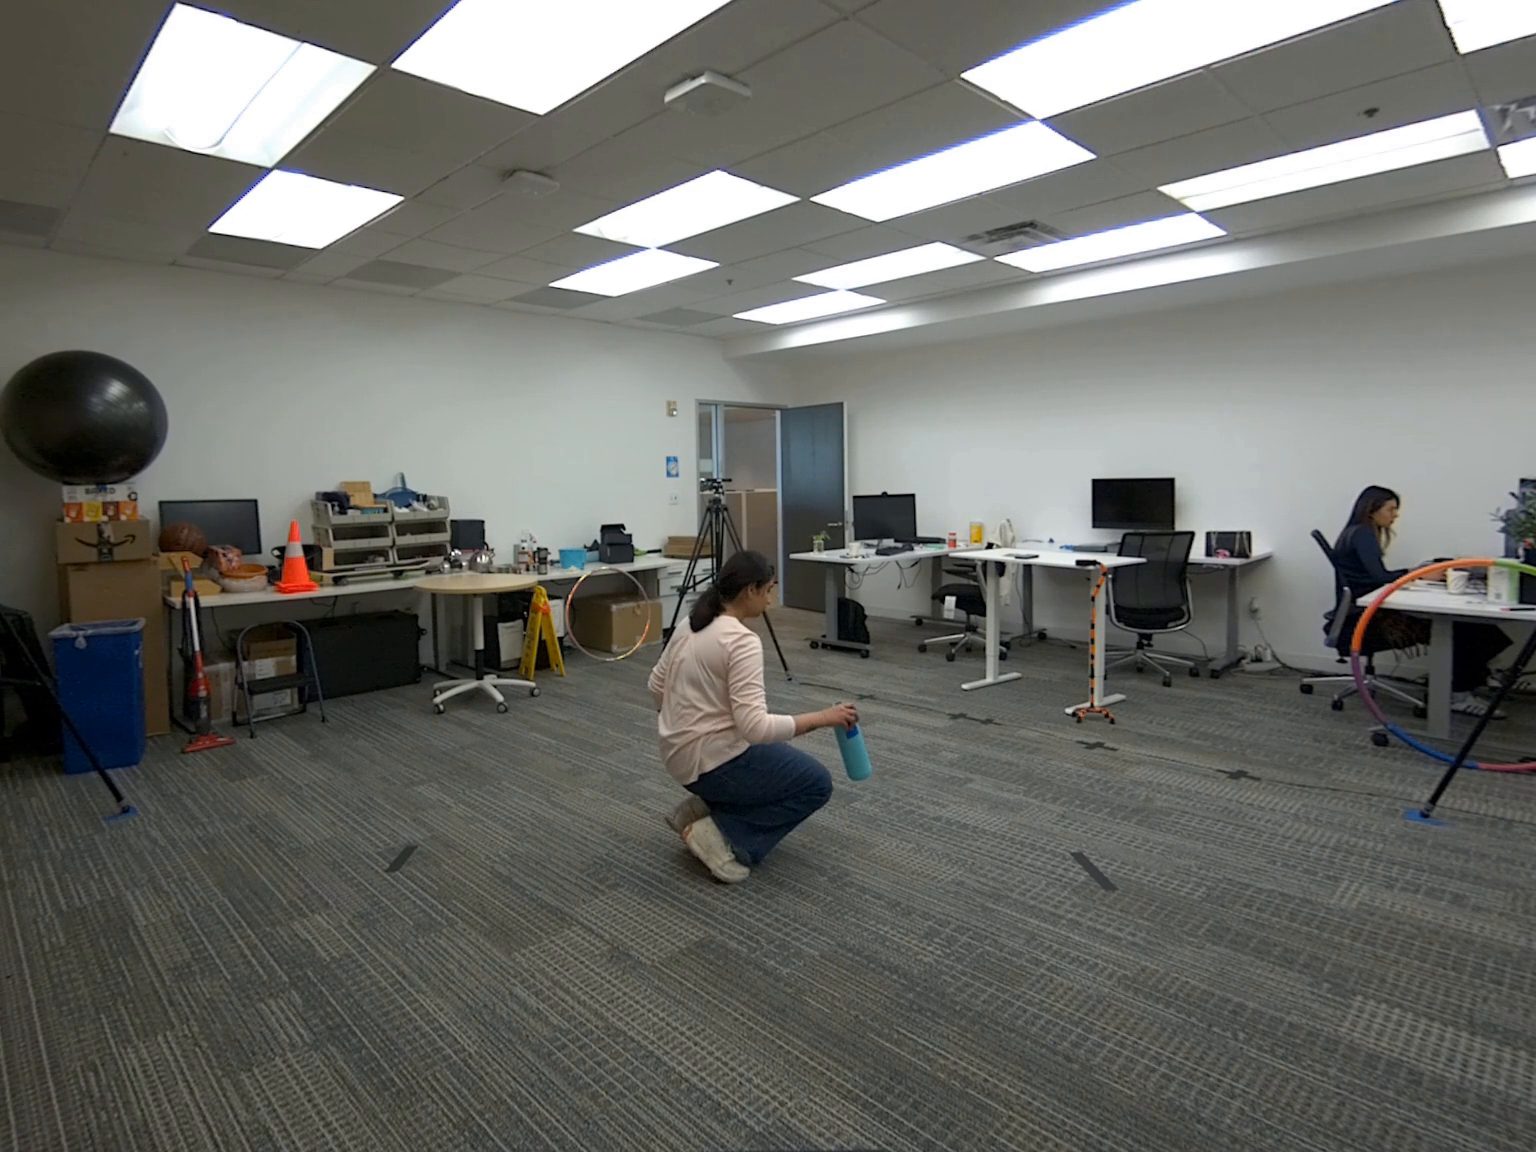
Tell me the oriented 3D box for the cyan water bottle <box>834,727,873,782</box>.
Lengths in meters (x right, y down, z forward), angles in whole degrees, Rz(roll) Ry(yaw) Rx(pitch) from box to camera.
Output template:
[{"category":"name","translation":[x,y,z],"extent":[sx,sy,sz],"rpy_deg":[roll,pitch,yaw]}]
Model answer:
[{"category":"cyan water bottle","translation":[0.293,0.578,3.020],"extent":[0.092,0.279,0.093],"rpy_deg":[-15,15,3]}]
